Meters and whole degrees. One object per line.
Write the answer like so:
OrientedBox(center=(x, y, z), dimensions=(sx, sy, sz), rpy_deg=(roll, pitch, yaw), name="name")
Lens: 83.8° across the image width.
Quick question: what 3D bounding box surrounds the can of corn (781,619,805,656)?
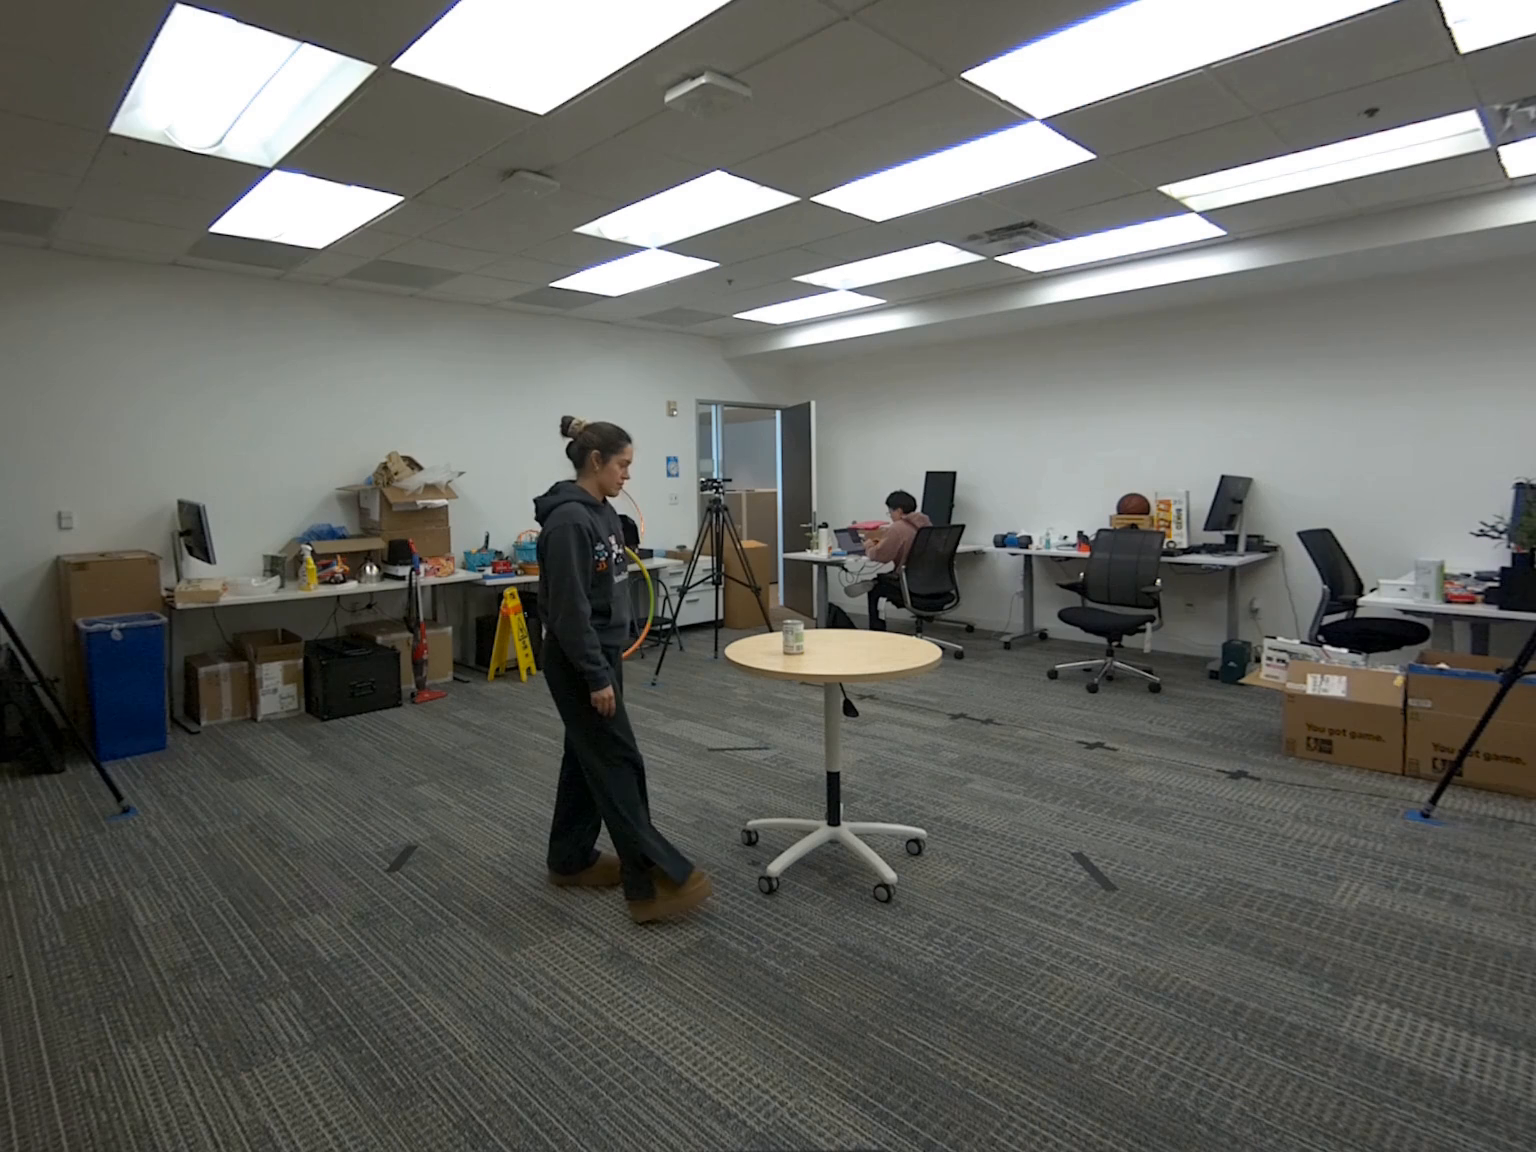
OrientedBox(center=(0.086, 0.218, 2.986), dimensions=(0.074, 0.110, 0.074), rpy_deg=(-4, 6, -1), name="can of corn")
